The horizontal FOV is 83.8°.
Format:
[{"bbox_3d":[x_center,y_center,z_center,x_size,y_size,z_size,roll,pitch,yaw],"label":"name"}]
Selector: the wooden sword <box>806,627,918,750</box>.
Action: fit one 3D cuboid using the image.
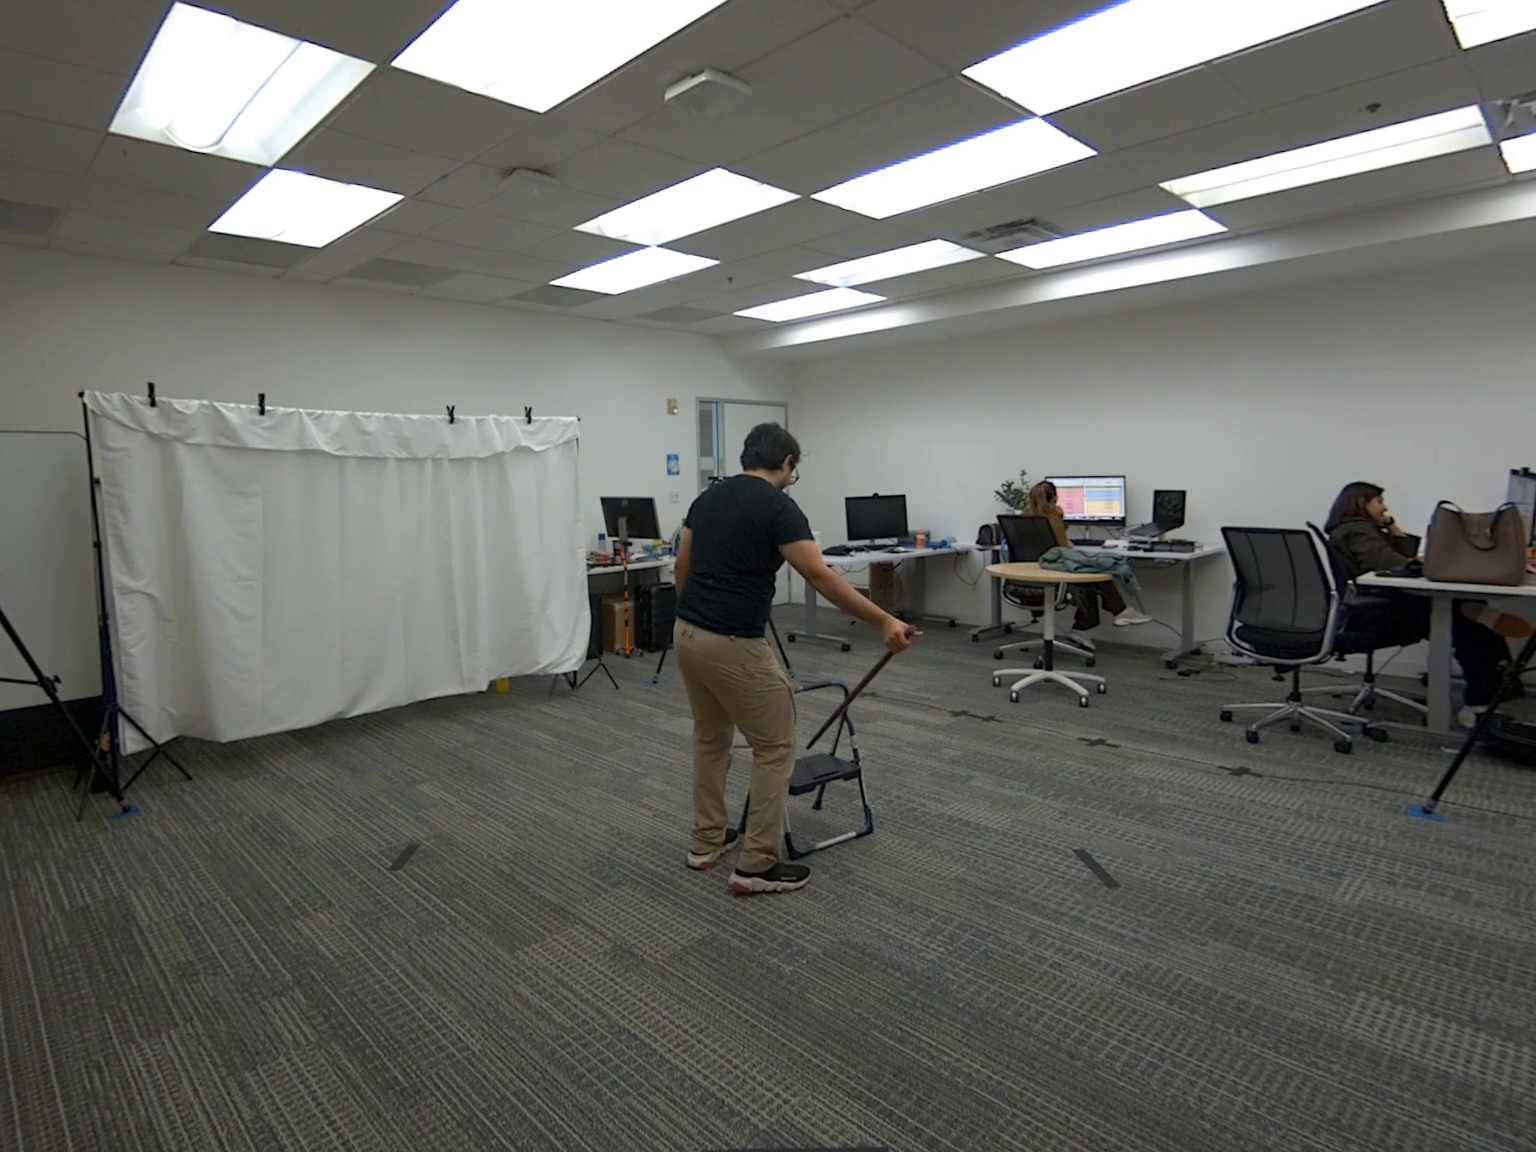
[{"bbox_3d":[0.284,0.456,3.036,0.024,0.052,1.013,19,-35,-6],"label":"wooden sword"}]
